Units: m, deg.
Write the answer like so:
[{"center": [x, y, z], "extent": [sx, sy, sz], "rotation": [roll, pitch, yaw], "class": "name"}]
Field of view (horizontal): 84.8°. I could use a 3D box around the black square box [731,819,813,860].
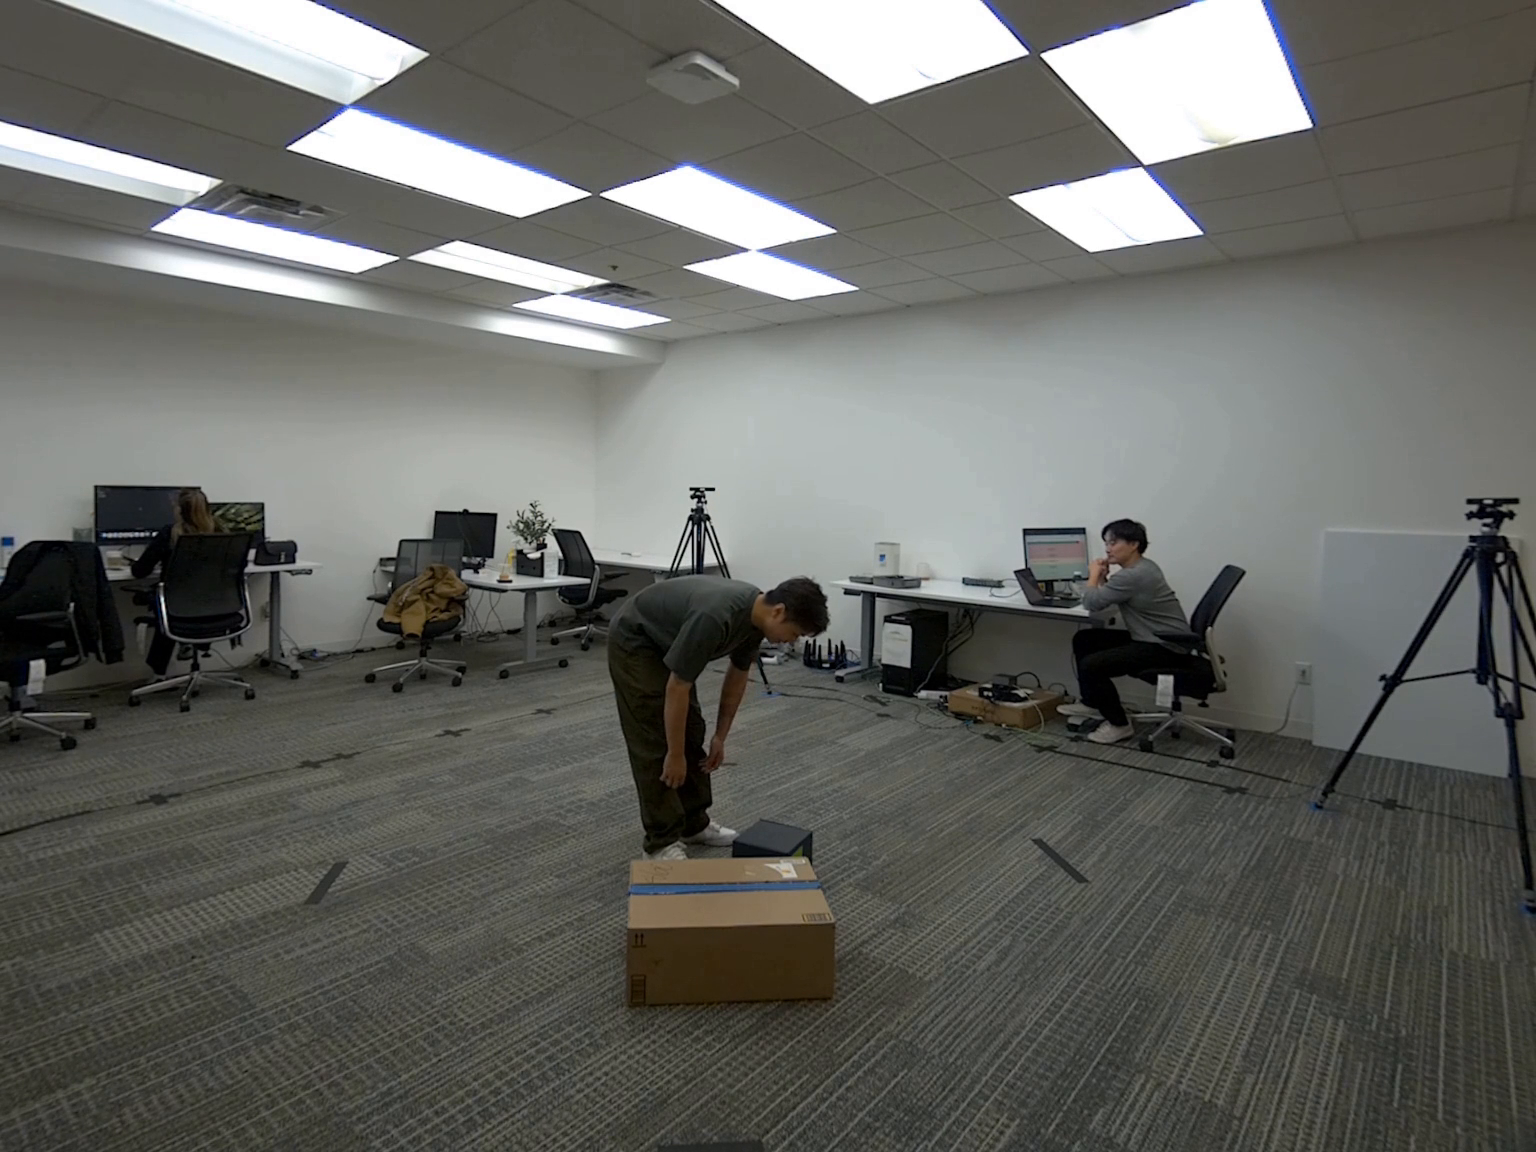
[{"center": [0.005, 0.992, 3.035], "extent": [0.223, 0.155, 0.222], "rotation": [4, 5, 26], "class": "black square box"}]
